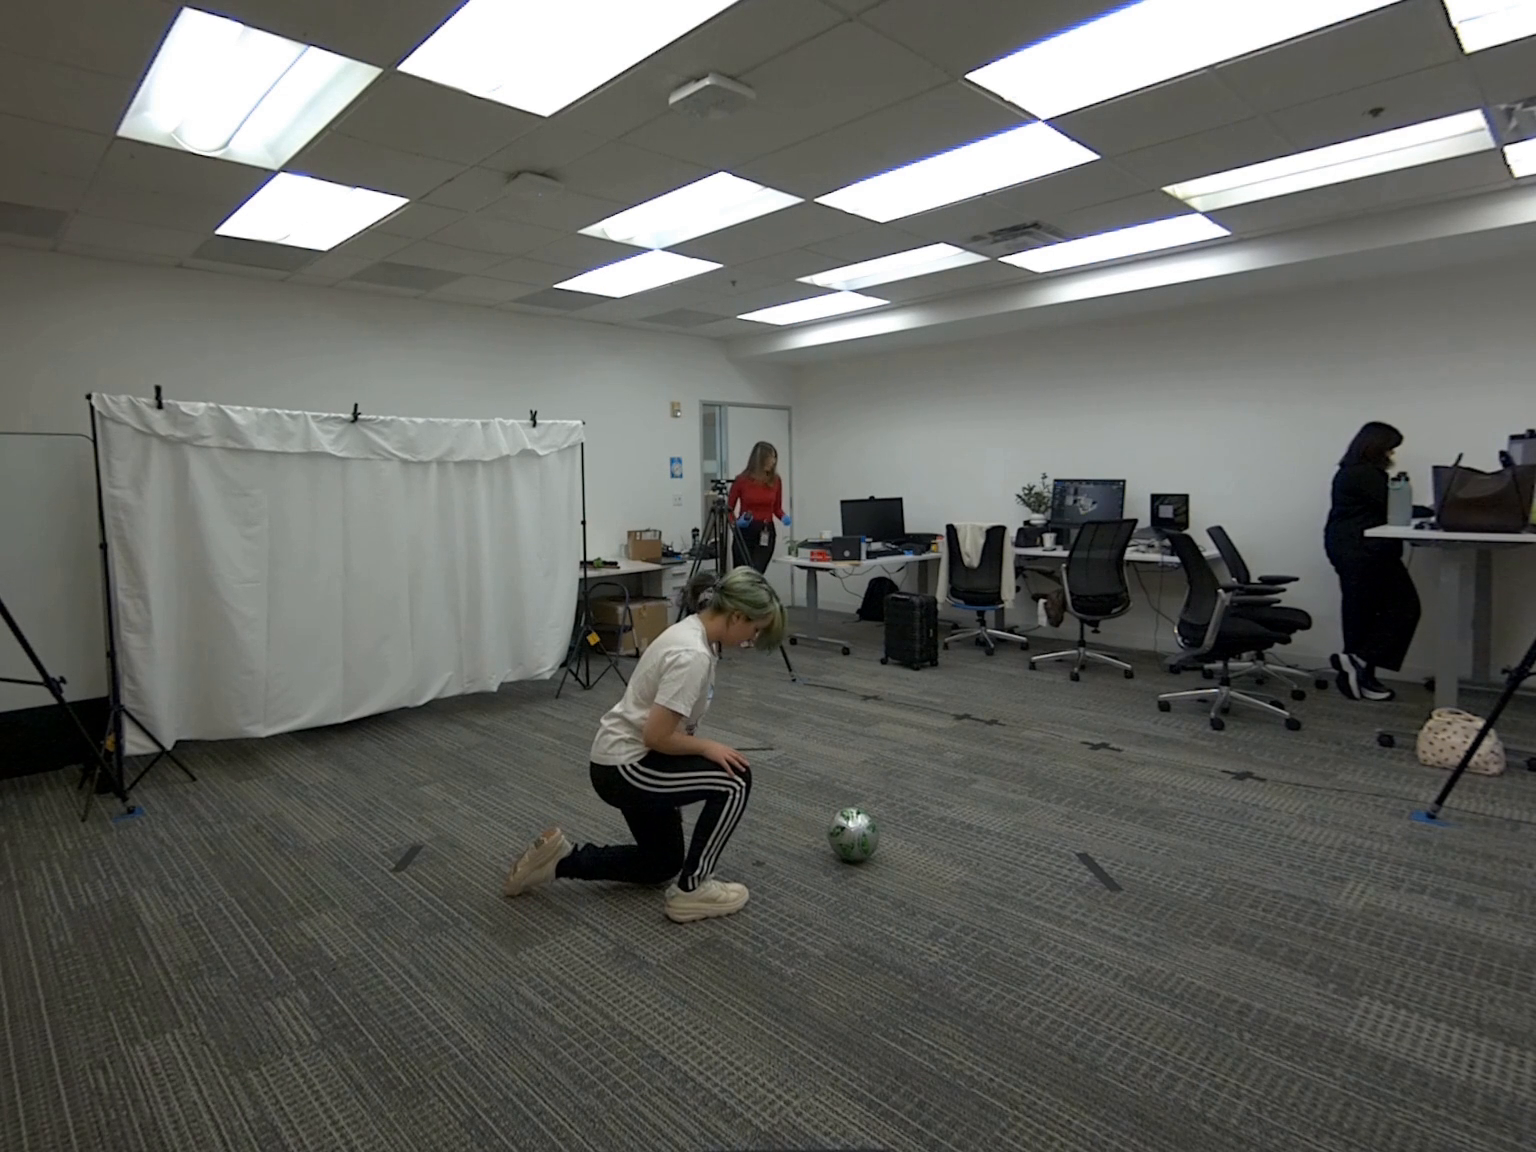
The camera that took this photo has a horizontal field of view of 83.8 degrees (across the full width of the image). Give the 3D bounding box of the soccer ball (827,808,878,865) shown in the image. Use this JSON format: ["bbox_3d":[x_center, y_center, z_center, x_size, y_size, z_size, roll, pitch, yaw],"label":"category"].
[{"bbox_3d":[0.312,0.948,3.124,0.187,0.187,0.188,-1,5,-2],"label":"soccer ball"}]
